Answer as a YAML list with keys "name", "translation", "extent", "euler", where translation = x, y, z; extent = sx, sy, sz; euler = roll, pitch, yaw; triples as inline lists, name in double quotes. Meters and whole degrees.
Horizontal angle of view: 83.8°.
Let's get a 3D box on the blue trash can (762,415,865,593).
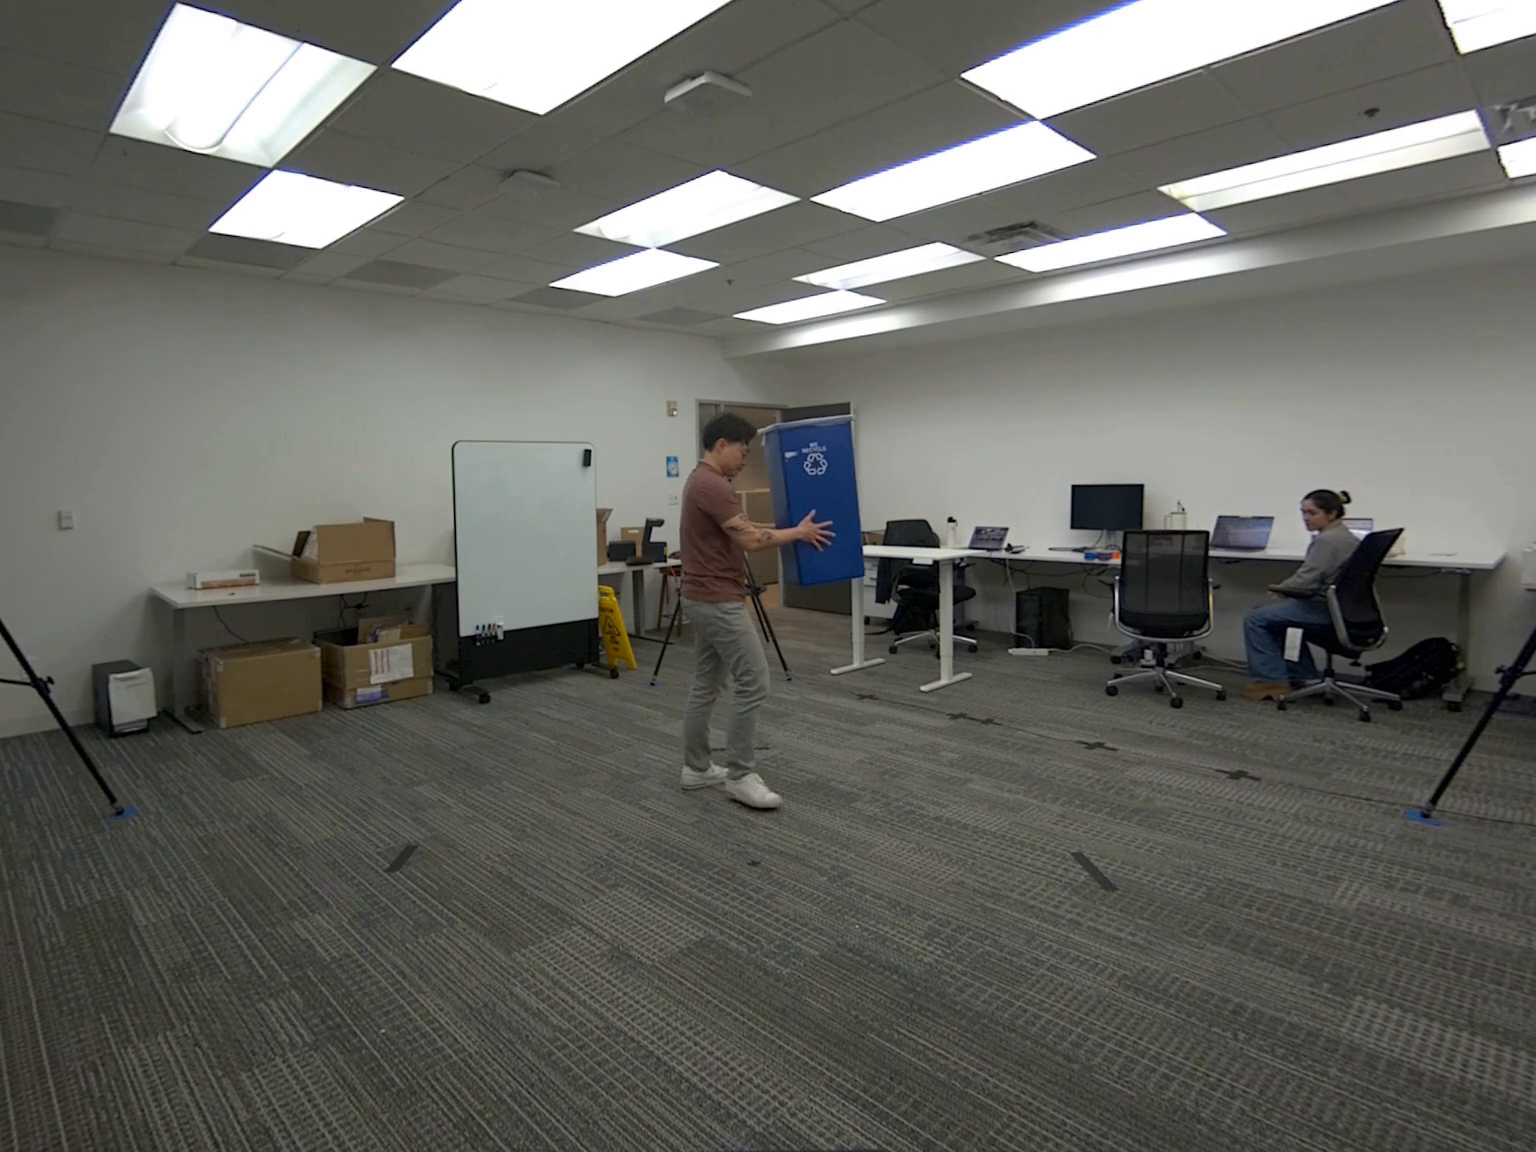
- name: "blue trash can"
  translation: [0.212, -0.346, 3.866]
  extent: [0.371, 0.710, 0.383]
  euler: [-9, 5, -10]
